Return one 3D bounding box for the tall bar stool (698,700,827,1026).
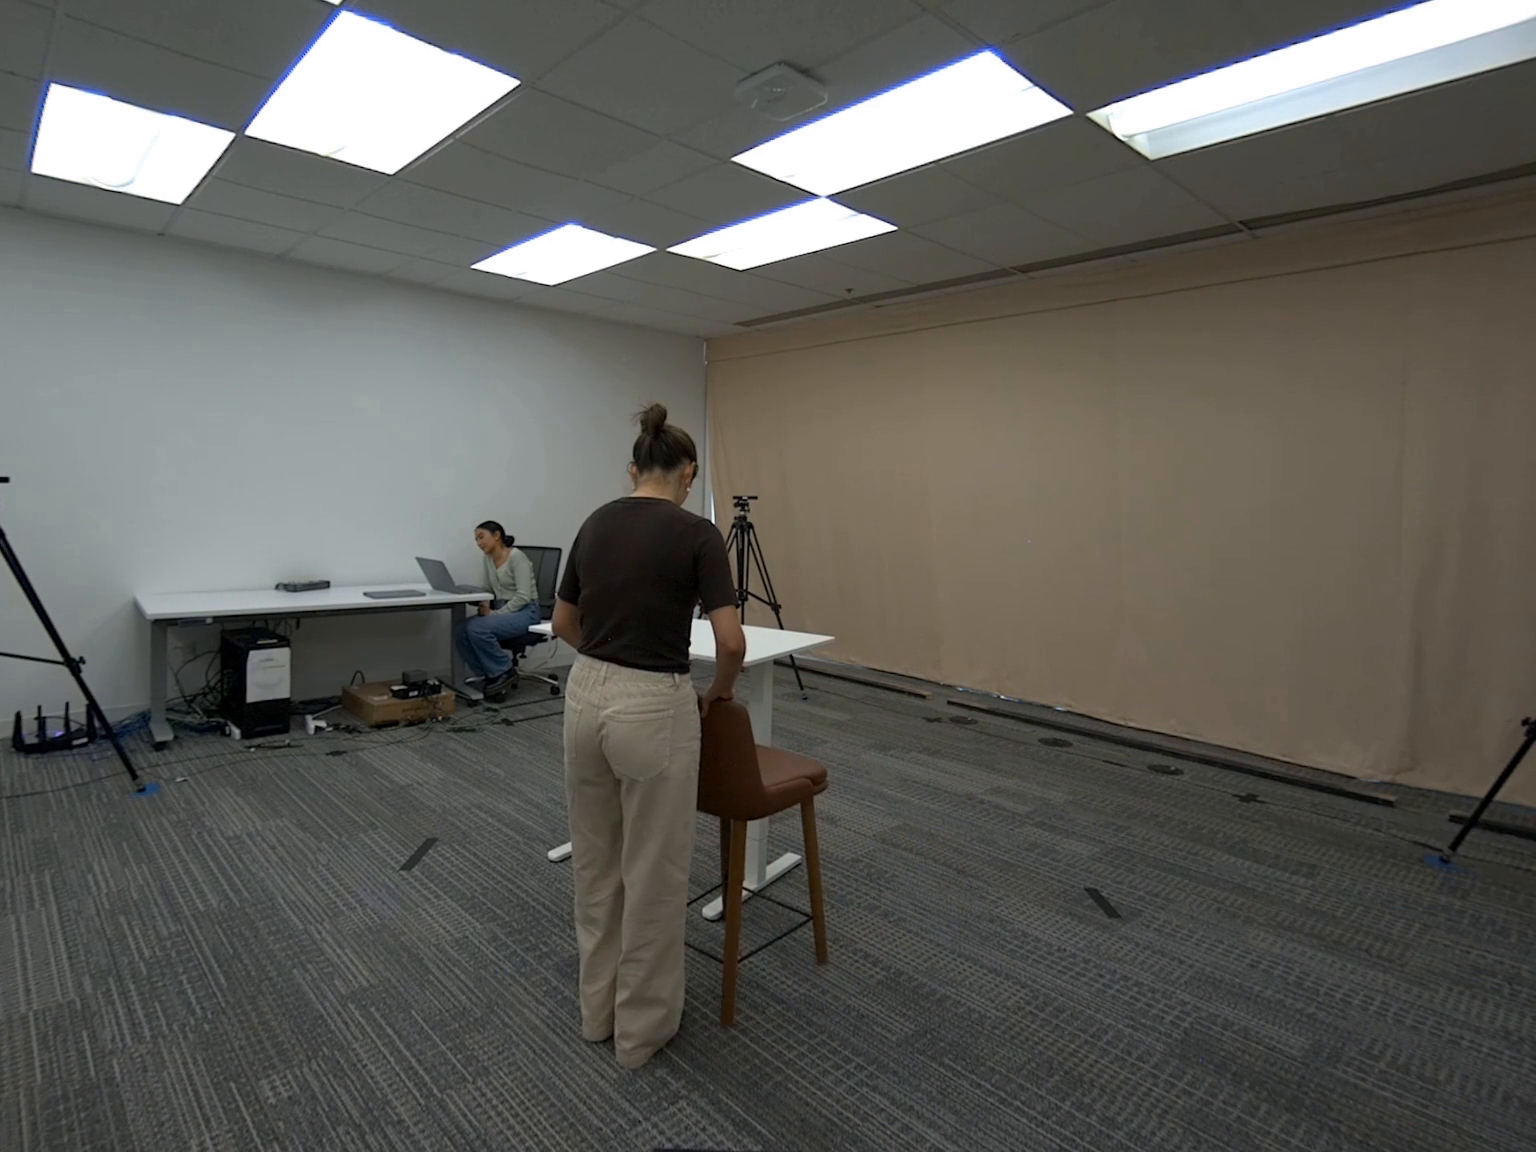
[{"bbox_3d":[-0.114,0.722,2.455,0.468,0.886,0.458,5,7,39],"label":"tall bar stool"}]
